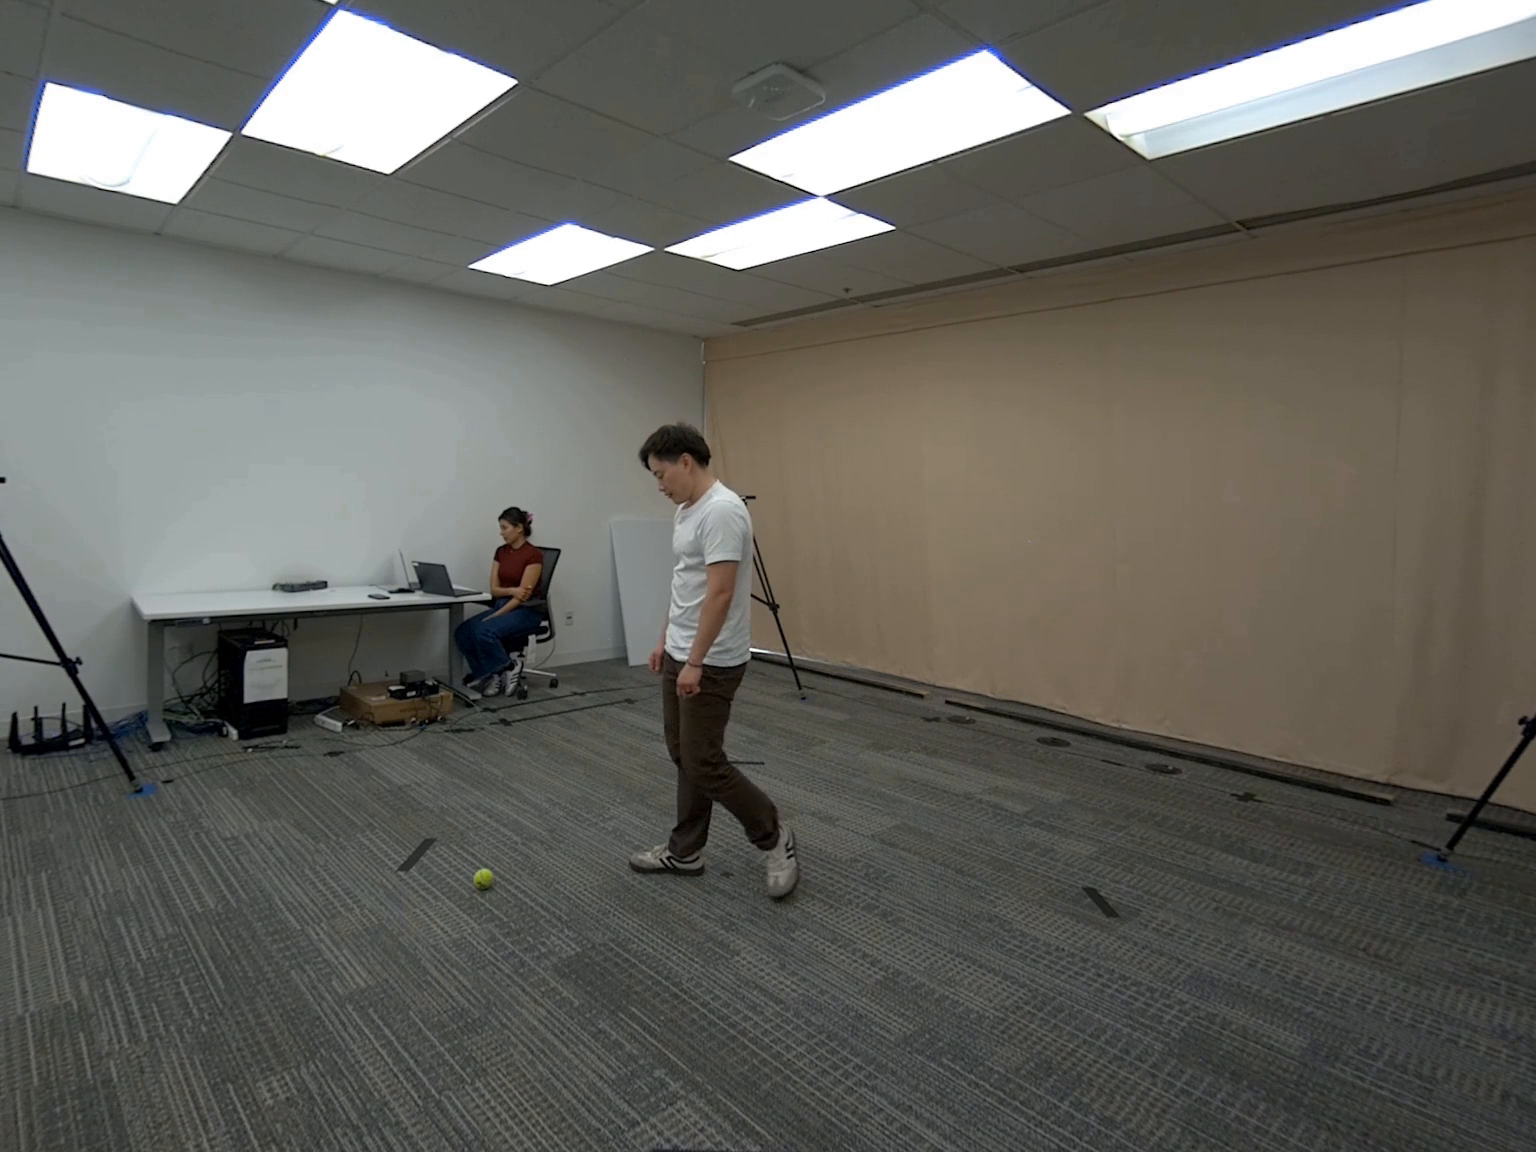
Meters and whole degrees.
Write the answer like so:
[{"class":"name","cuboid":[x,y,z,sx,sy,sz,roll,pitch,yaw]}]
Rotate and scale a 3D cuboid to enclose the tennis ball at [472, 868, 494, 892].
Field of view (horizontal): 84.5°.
[{"class":"tennis ball","cuboid":[-0.993,1.052,2.953,0.066,0.066,0.067,1,4,-1]}]
